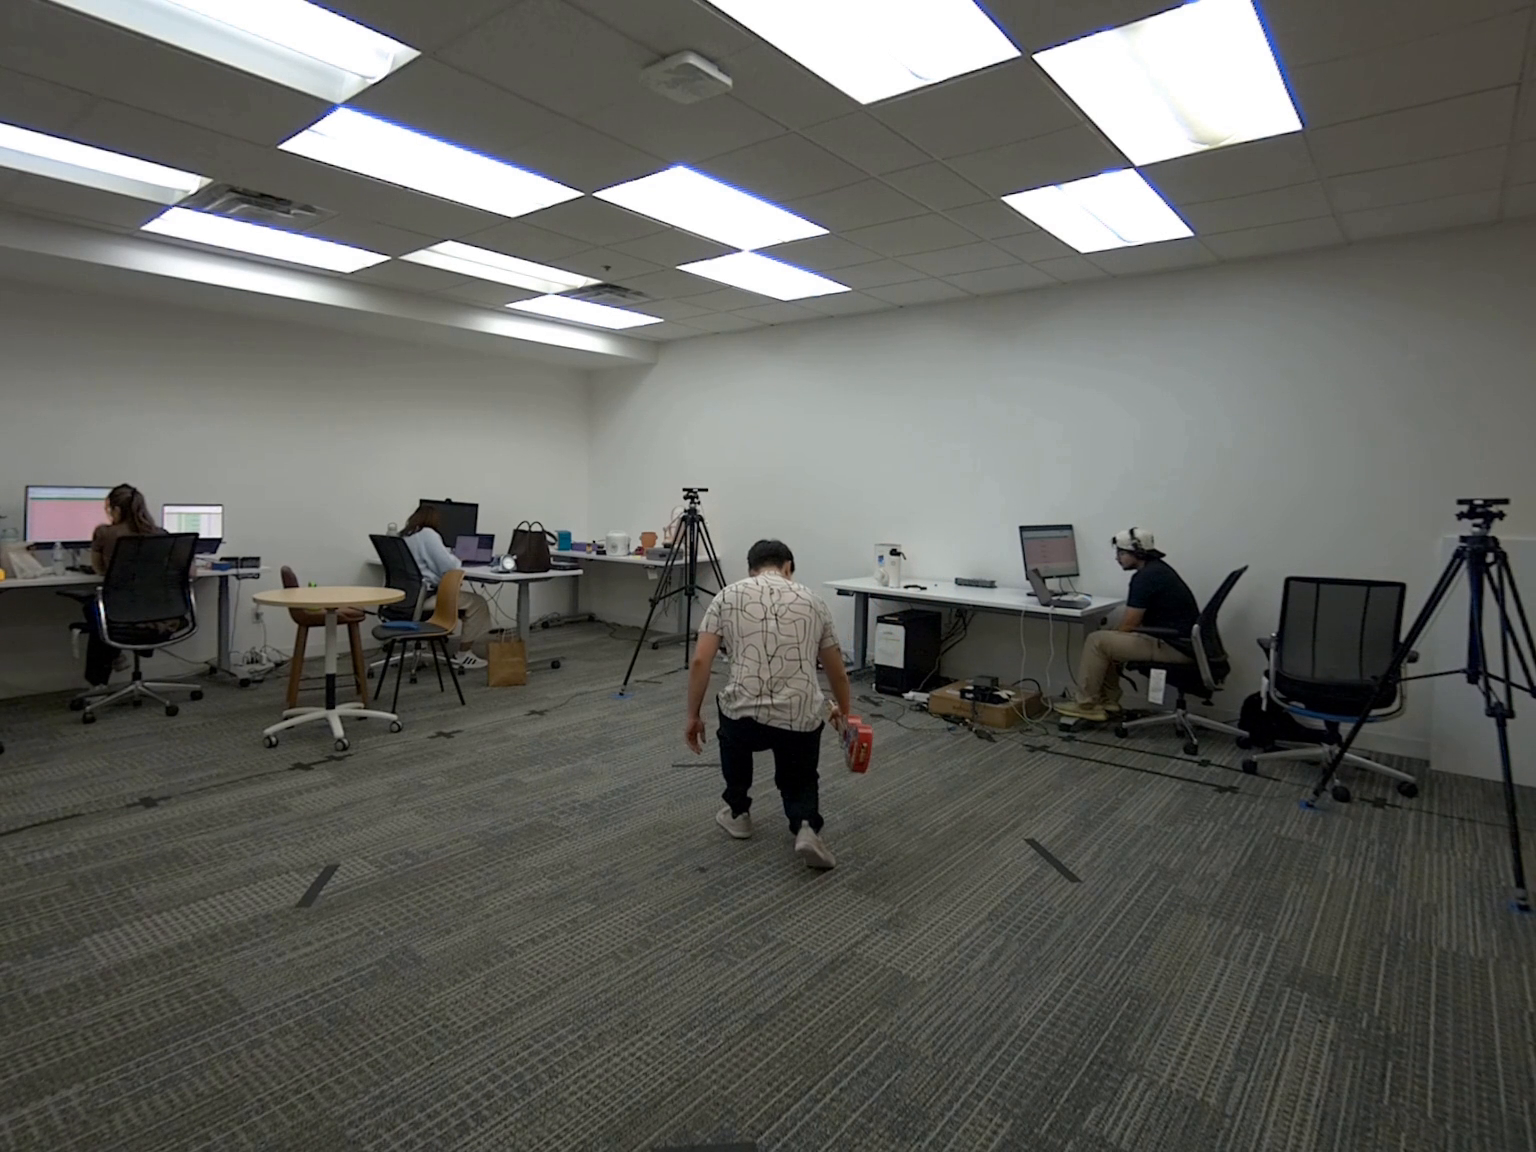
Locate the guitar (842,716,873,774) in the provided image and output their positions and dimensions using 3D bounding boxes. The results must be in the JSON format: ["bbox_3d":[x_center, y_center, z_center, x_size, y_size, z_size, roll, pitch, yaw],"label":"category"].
[{"bbox_3d":[0.324,0.619,3.576,0.070,0.190,0.511,6,21,-11],"label":"guitar"}]
